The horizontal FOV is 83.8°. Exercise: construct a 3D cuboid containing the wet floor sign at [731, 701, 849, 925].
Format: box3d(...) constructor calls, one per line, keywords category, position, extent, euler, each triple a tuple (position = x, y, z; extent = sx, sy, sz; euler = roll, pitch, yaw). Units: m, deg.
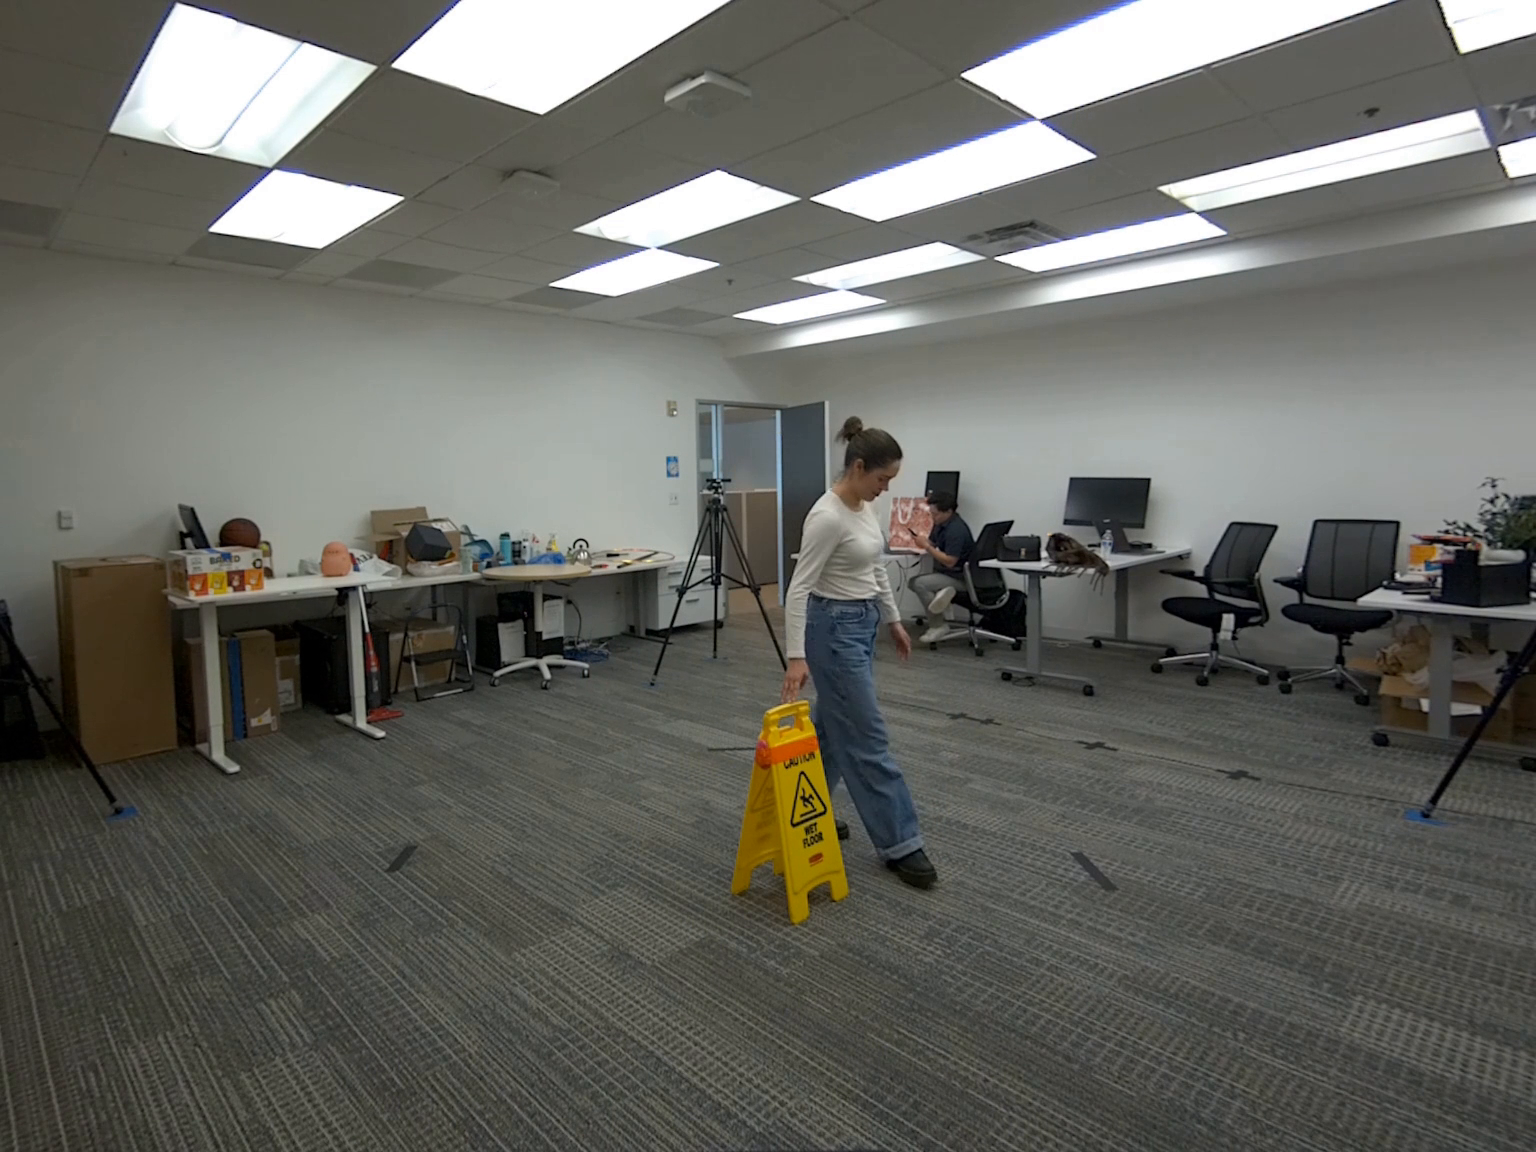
box3d(category="wet floor sign", position=(0.072, 0.748, 2.845), extent=(0.299, 0.643, 0.275), euler=(3, 6, 45))
